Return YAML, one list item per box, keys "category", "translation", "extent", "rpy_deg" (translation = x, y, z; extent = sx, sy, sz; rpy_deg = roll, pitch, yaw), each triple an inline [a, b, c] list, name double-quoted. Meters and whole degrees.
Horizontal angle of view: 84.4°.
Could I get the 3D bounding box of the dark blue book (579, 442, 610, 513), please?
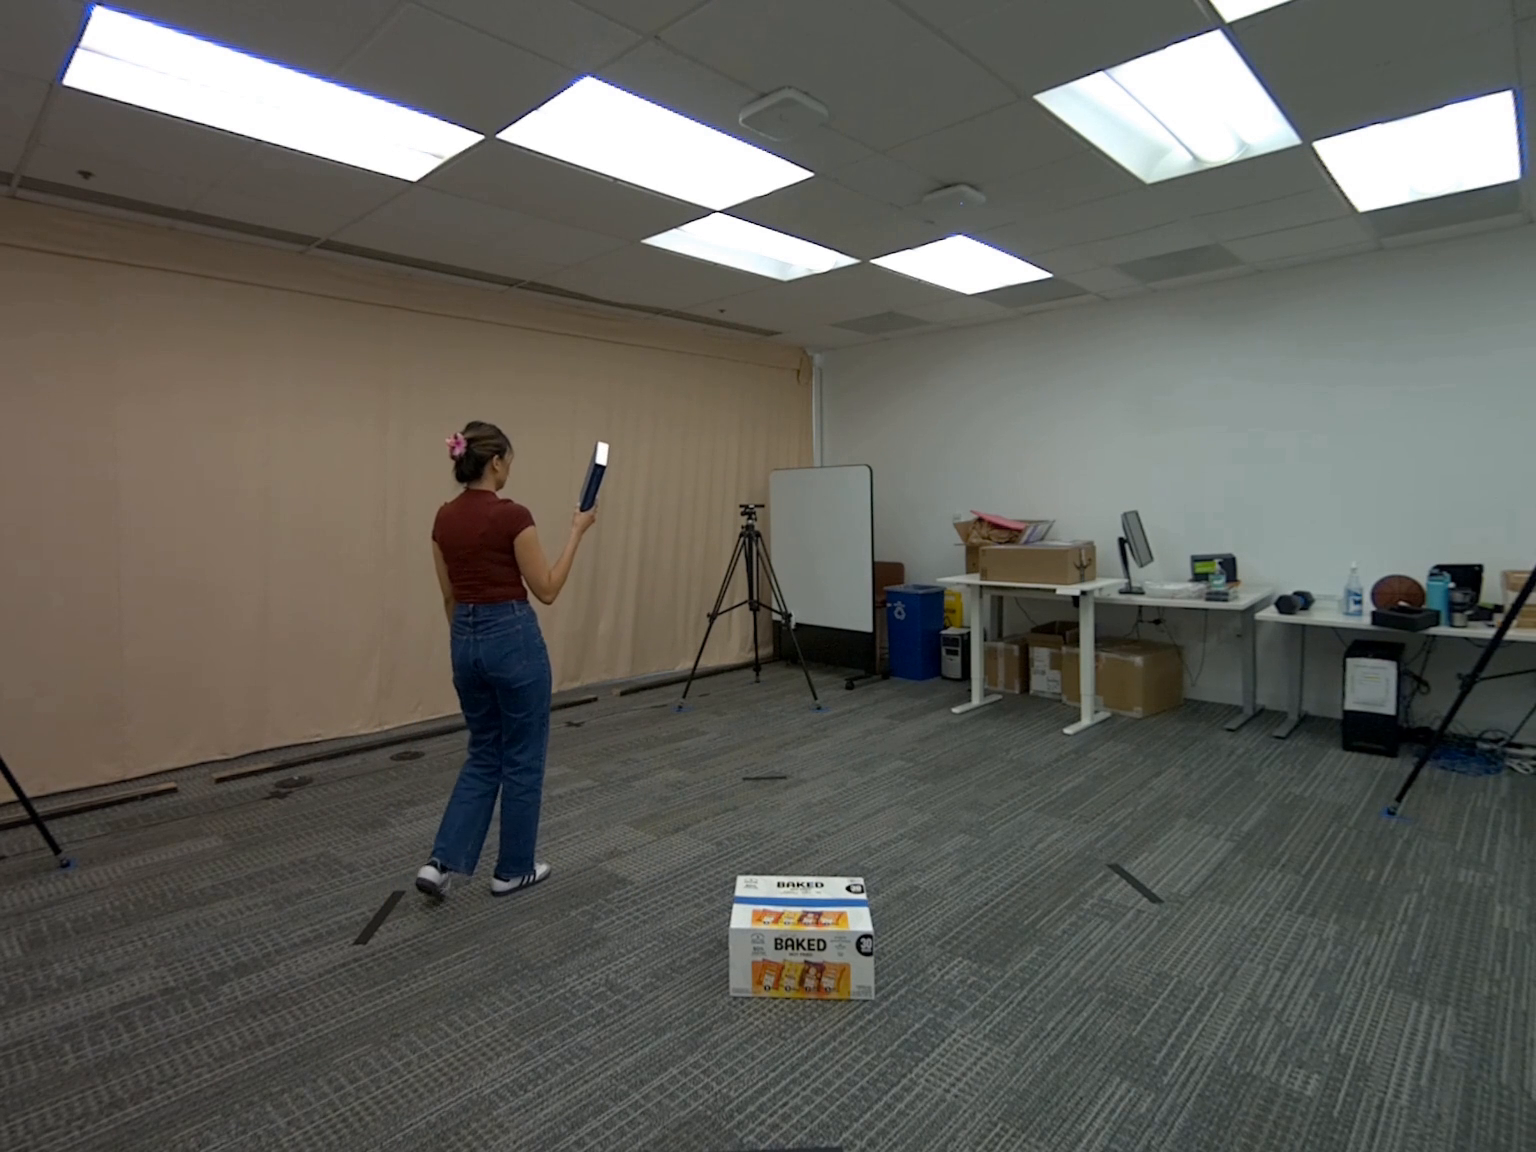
- category: "dark blue book"
  translation: [-0.645, -0.347, 3.067]
  extent: [0.044, 0.243, 0.167]
  rpy_deg: [10, 35, -12]
